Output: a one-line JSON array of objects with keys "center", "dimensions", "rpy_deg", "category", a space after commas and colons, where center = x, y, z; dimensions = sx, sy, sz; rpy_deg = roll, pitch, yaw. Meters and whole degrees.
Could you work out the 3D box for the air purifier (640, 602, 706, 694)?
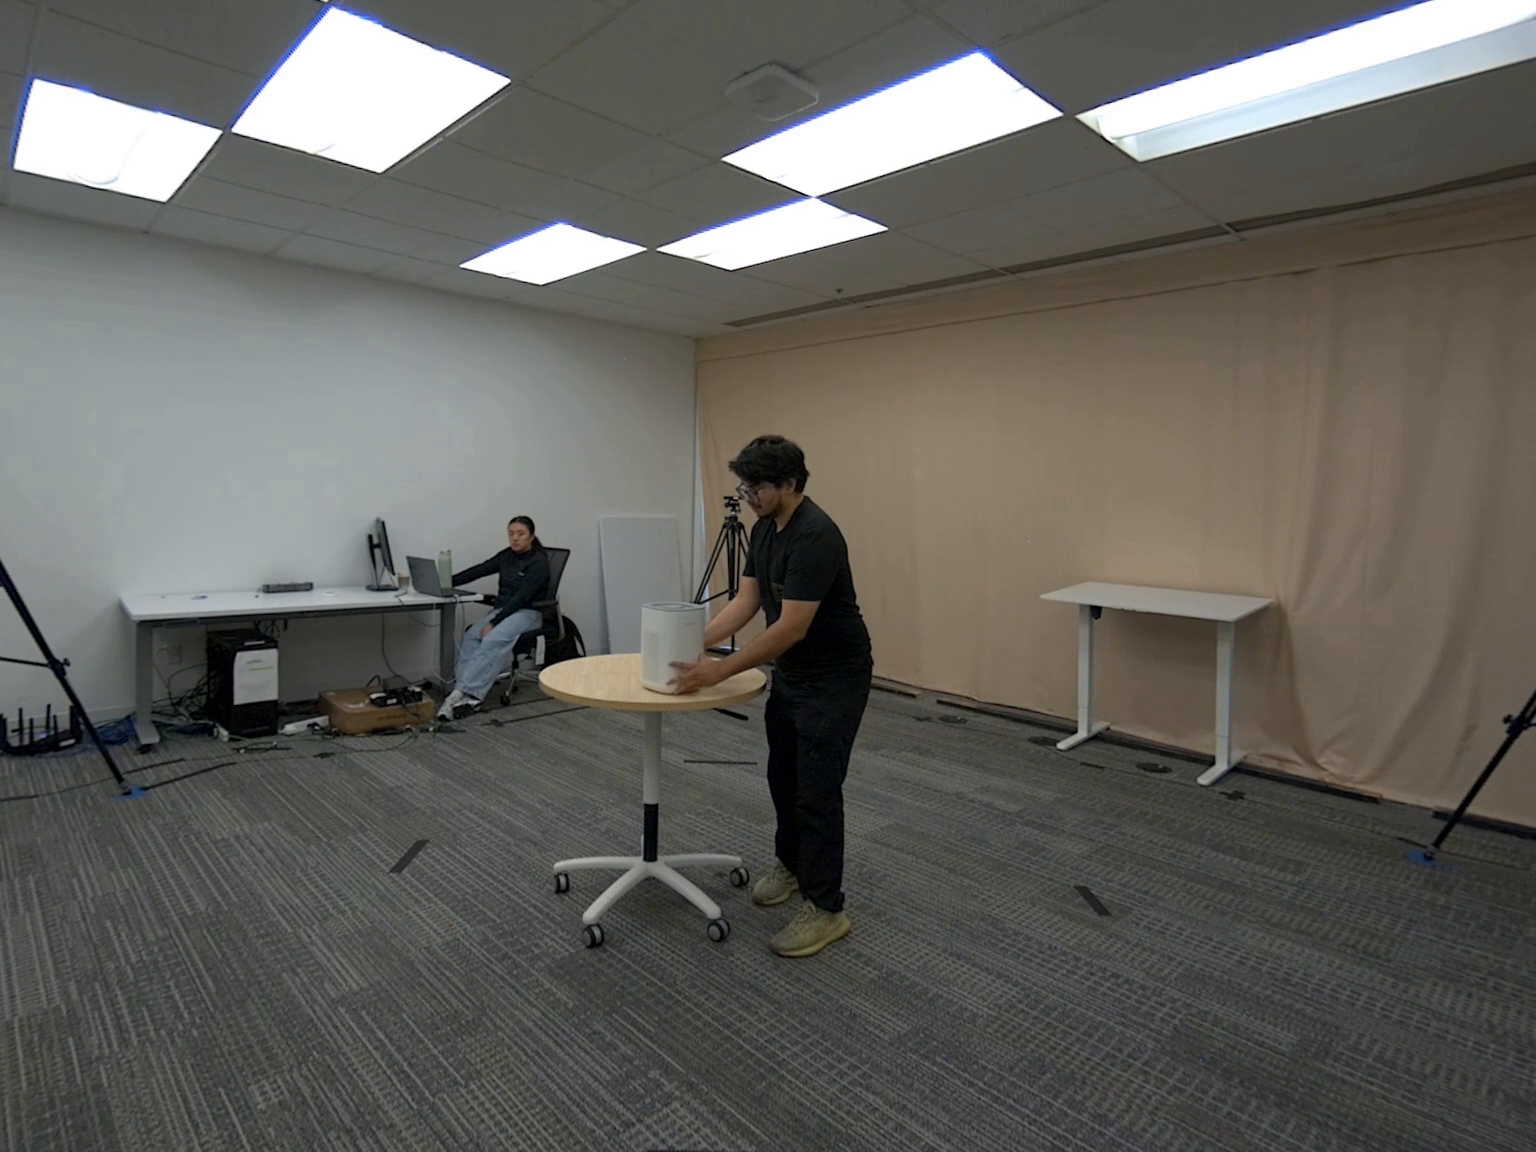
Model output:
[{"center": [-0.303, 0.225, 2.649], "dimensions": [0.167, 0.264, 0.176], "rpy_deg": [-4, 7, -44], "category": "air purifier"}]
